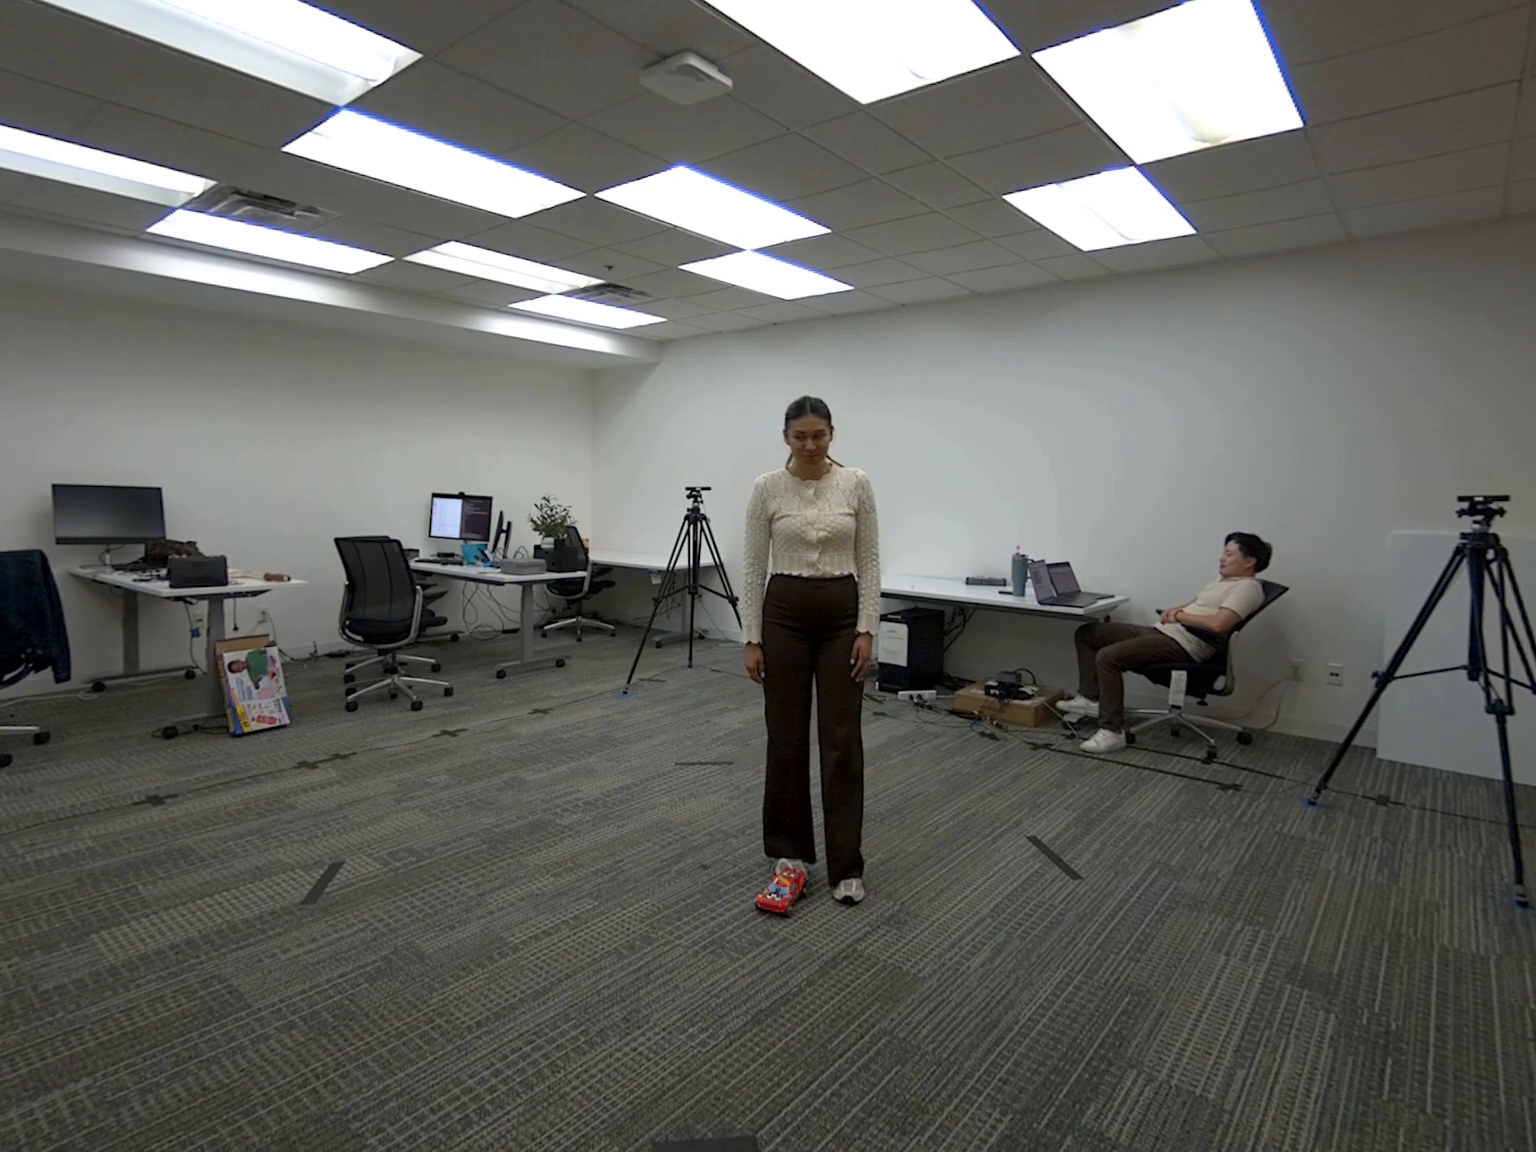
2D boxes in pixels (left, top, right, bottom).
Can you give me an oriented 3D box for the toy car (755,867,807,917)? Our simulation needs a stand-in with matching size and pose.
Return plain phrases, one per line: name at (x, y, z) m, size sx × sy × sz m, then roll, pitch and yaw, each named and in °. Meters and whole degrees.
toy car at (0.049, 1.065, 2.875) m, size 0.133 × 0.082 × 0.252 m, roll 2°, pitch 16°, yaw 23°
